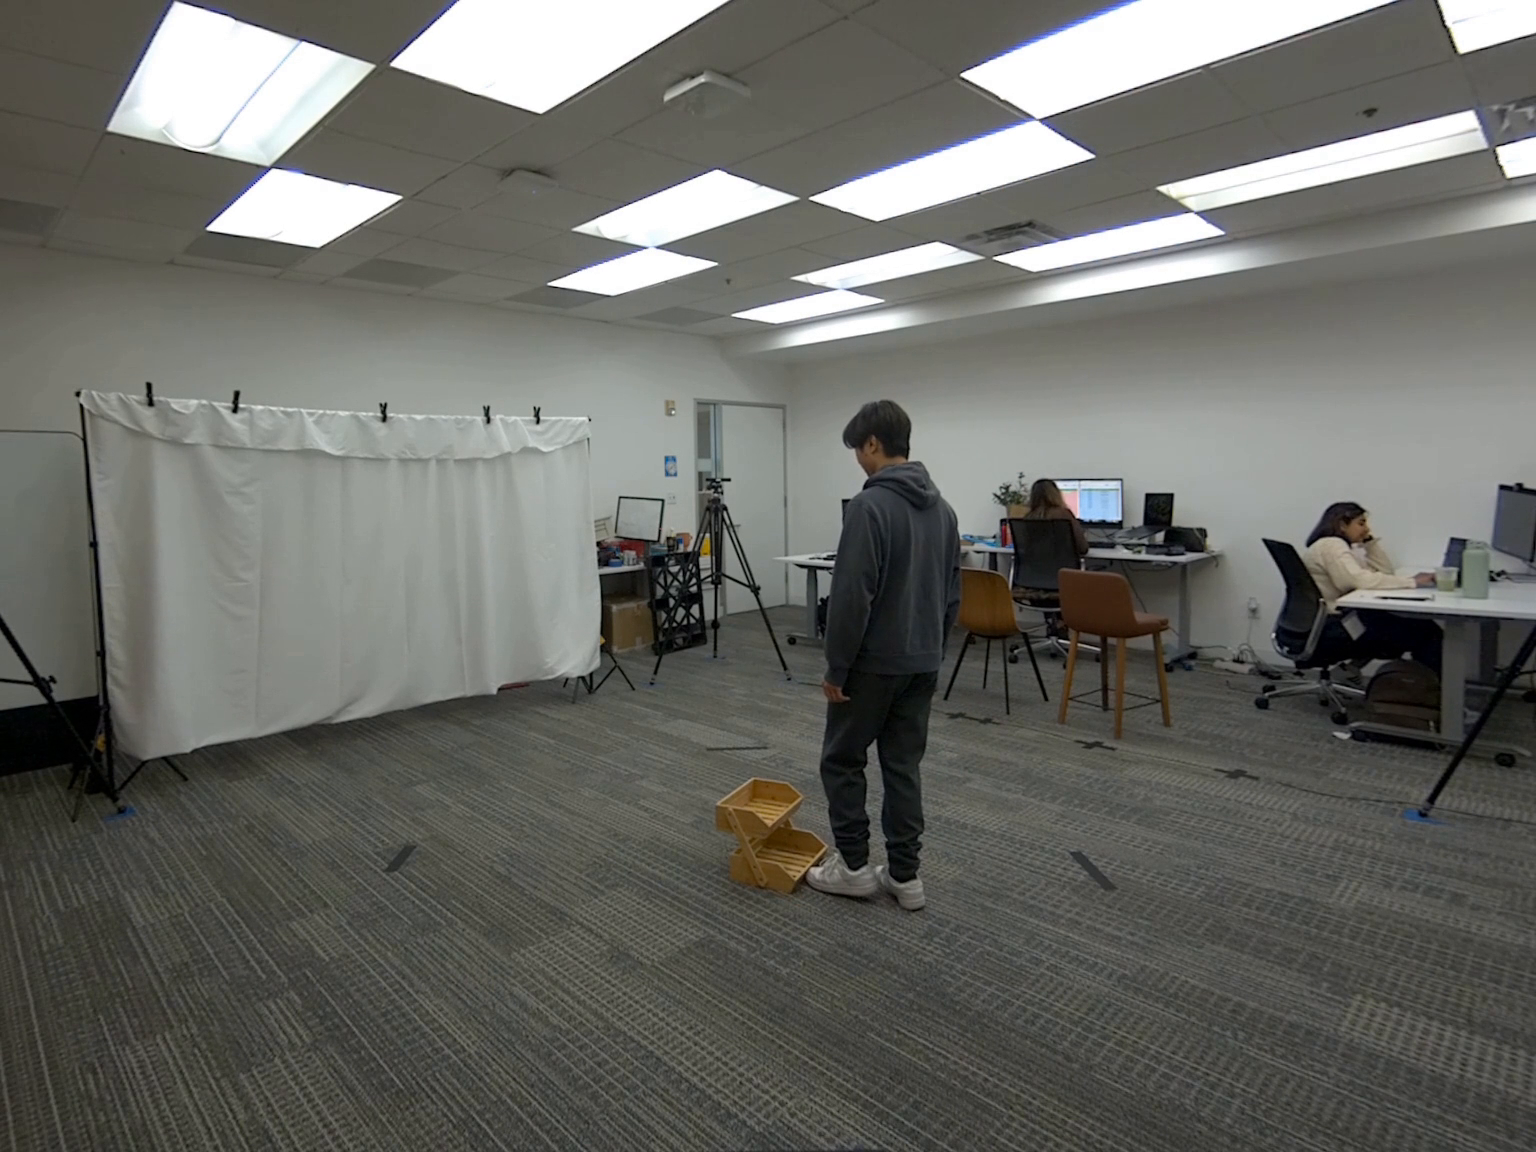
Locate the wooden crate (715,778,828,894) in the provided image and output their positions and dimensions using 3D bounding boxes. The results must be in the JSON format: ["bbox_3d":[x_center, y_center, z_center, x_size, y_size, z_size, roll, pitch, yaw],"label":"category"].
[{"bbox_3d":[0.025,0.913,3.057,0.309,0.272,0.318,1,5,27],"label":"wooden crate"}]
